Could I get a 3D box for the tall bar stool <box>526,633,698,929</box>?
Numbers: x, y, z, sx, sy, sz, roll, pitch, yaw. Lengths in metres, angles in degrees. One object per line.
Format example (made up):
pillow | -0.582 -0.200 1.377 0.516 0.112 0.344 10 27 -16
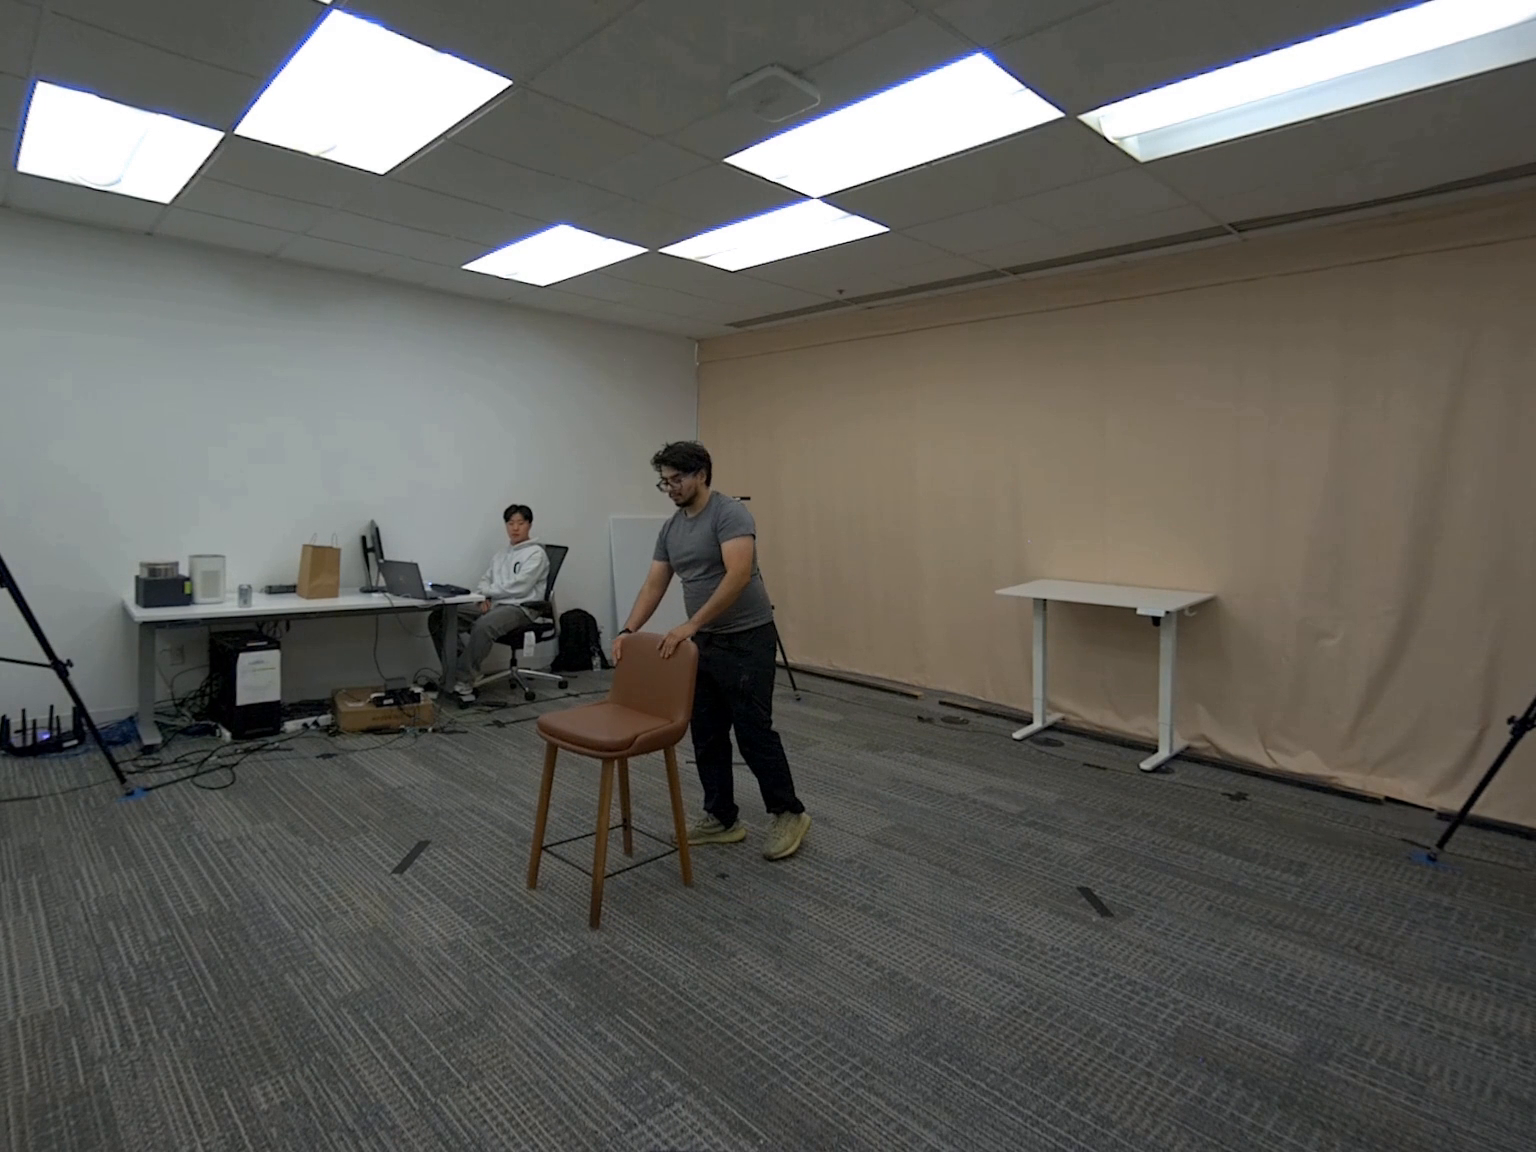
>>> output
tall bar stool | -0.541 0.674 2.973 0.468 0.888 0.456 5 3 44
